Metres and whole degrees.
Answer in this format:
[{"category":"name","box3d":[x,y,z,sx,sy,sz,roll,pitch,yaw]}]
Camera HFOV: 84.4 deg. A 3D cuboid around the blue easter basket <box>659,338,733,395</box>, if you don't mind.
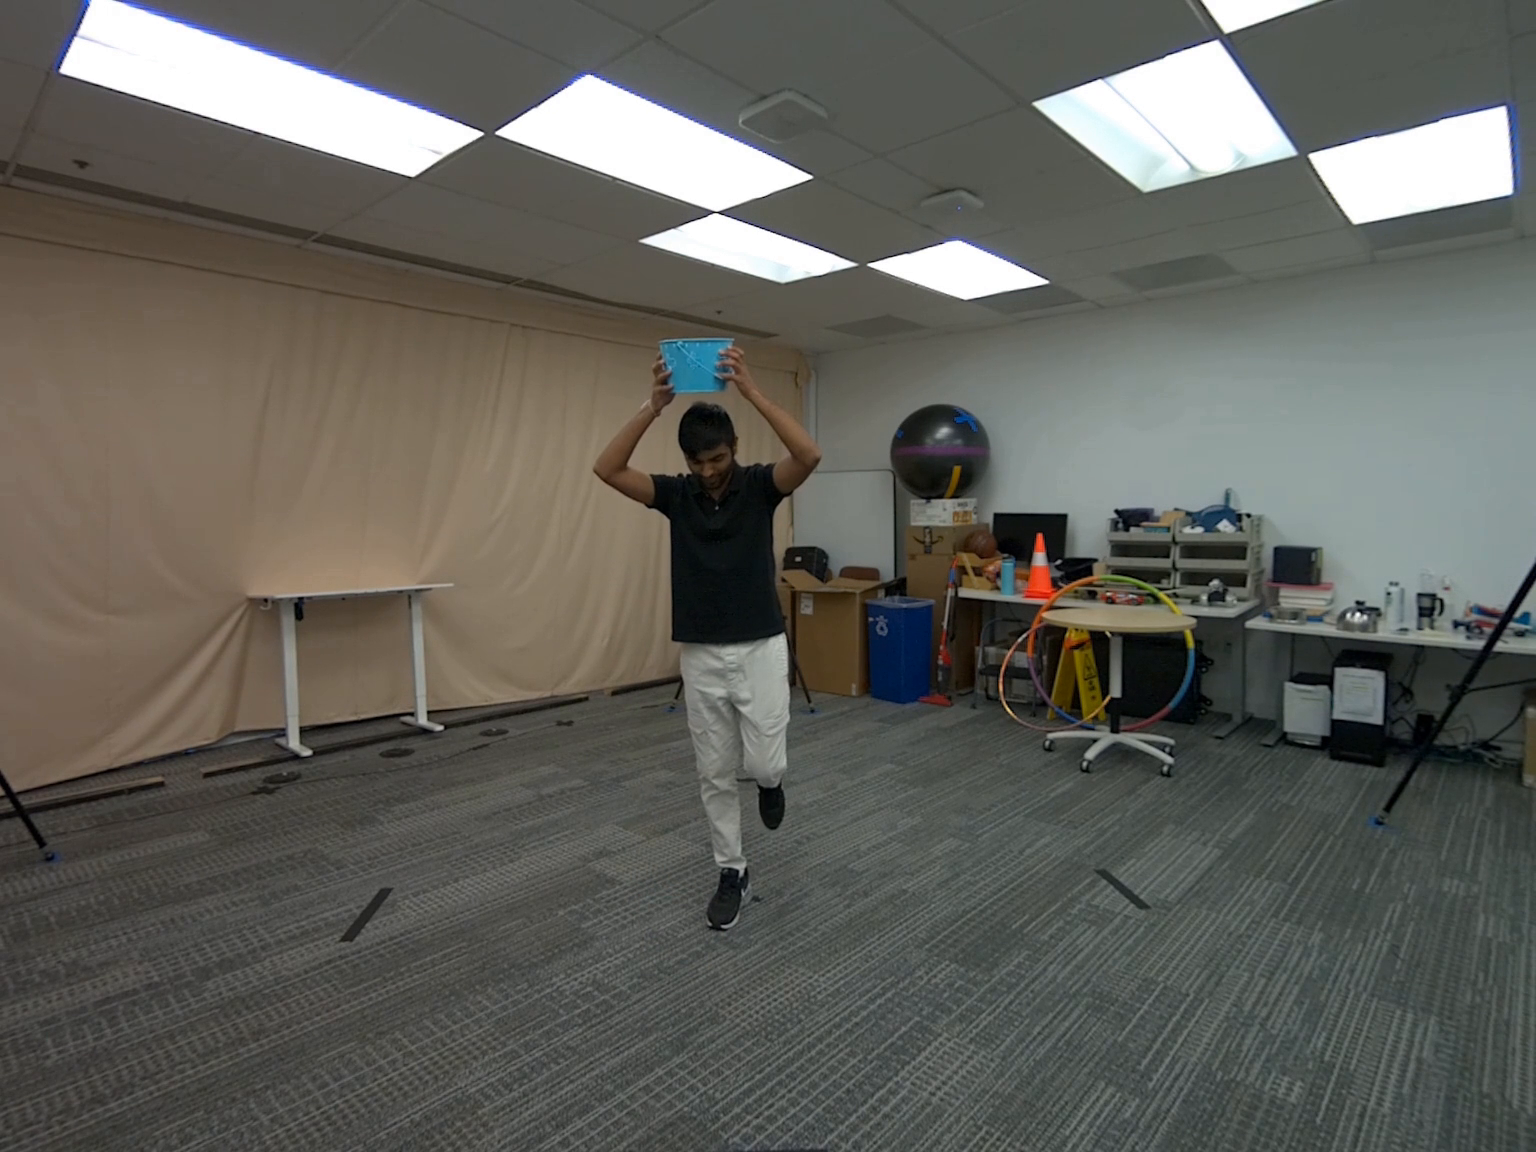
[{"category":"blue easter basket","box3d":[-0.210,-0.644,2.569,0.243,0.154,0.246,-2,12,-1]}]
